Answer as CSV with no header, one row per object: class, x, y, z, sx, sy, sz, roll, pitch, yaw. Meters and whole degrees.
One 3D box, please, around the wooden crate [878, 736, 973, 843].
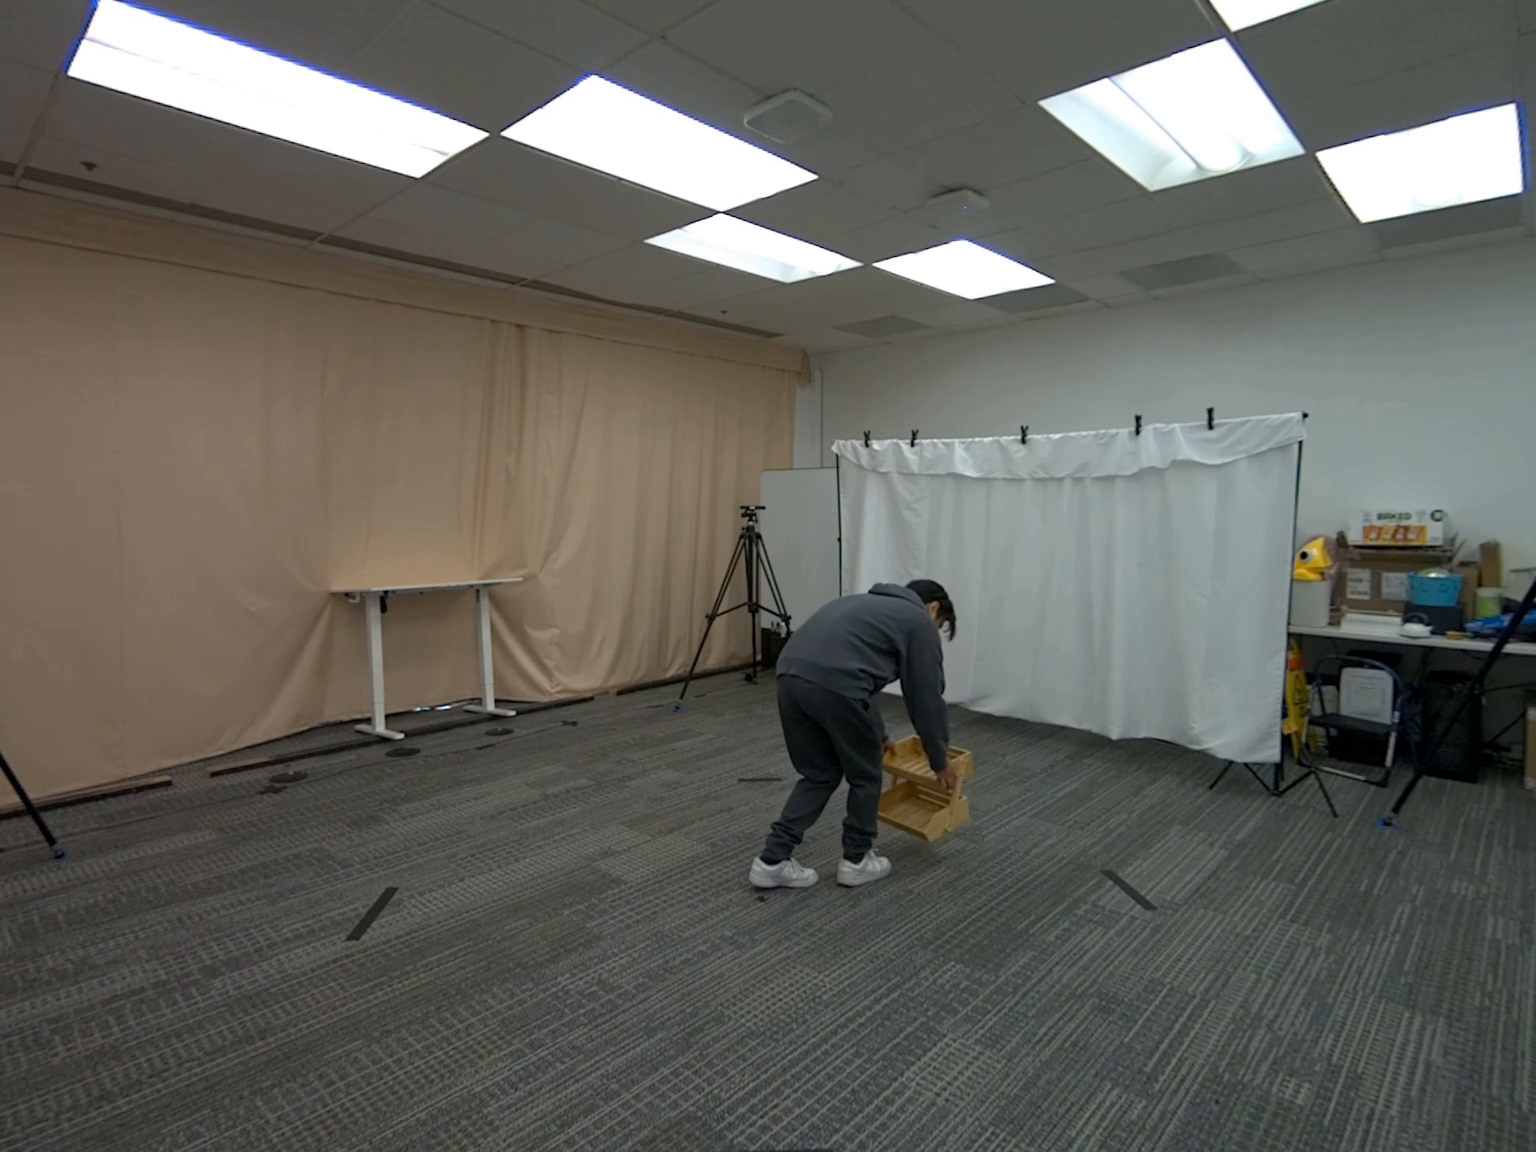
wooden crate,0.602,0.828,3.340,0.295,0.271,0.335,-15,12,-35
